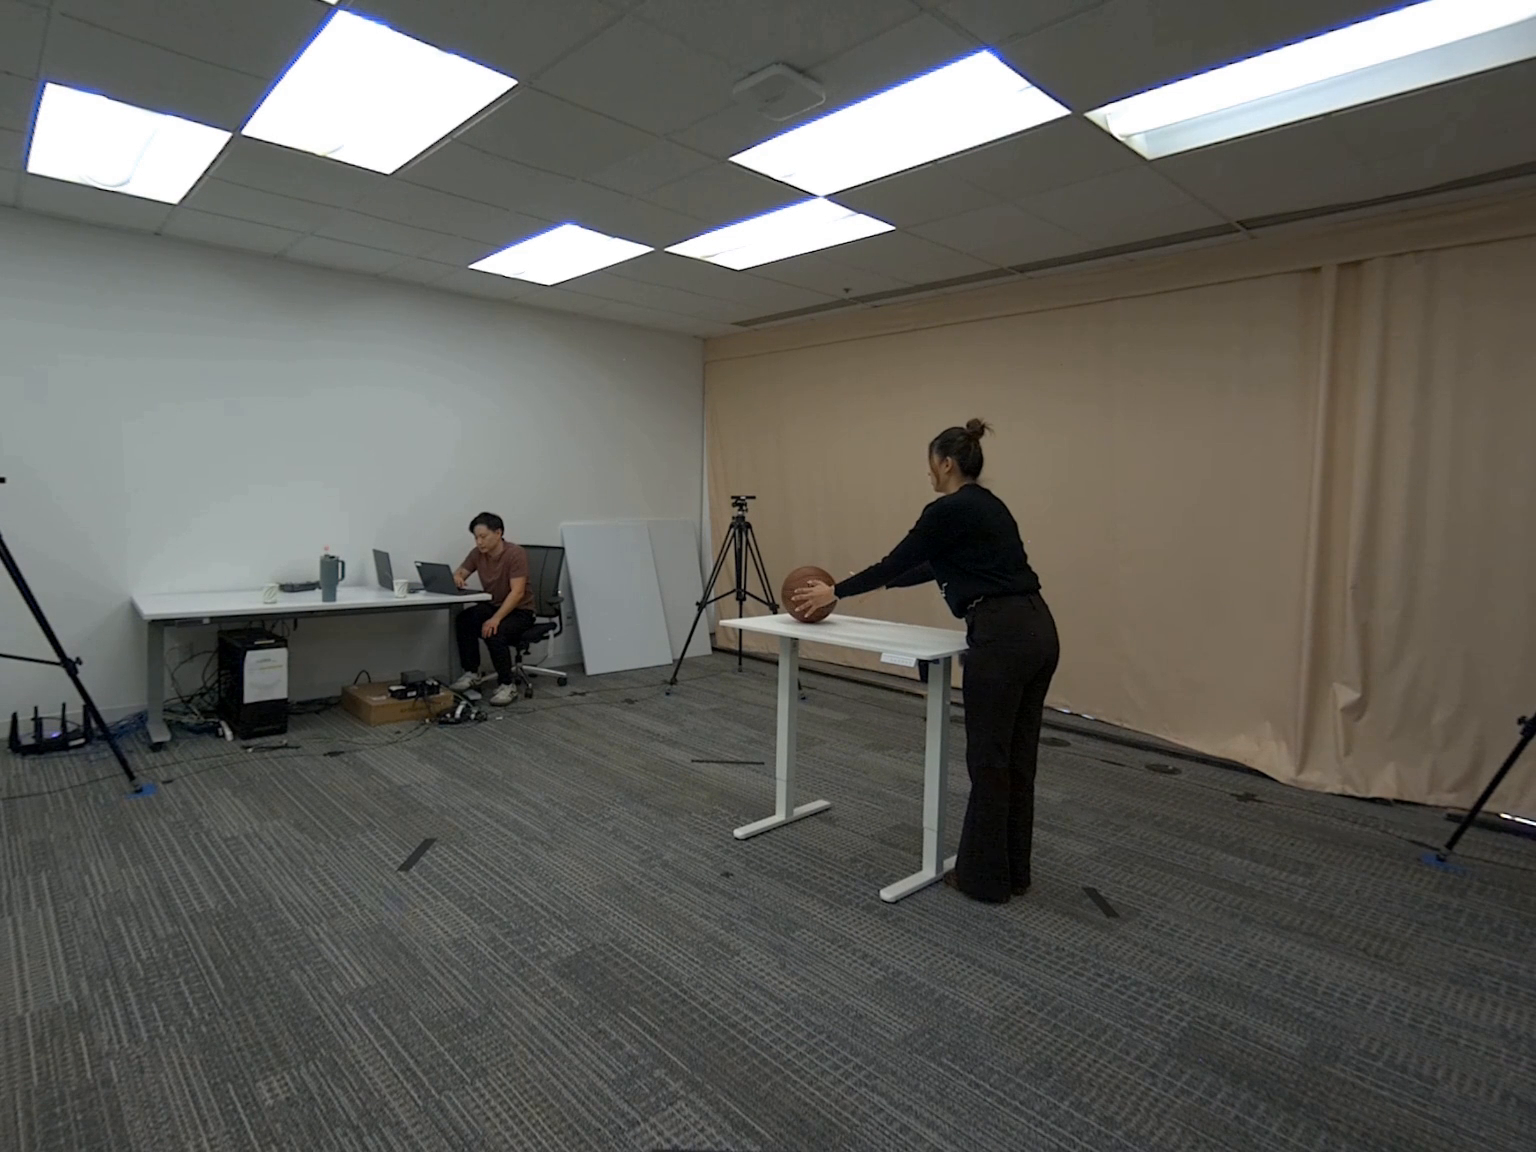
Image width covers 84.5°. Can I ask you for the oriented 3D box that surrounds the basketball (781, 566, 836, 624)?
[{"bbox_3d":[0.166,0.075,3.504,0.236,0.235,0.237,1,4,-1],"label":"basketball"}]
